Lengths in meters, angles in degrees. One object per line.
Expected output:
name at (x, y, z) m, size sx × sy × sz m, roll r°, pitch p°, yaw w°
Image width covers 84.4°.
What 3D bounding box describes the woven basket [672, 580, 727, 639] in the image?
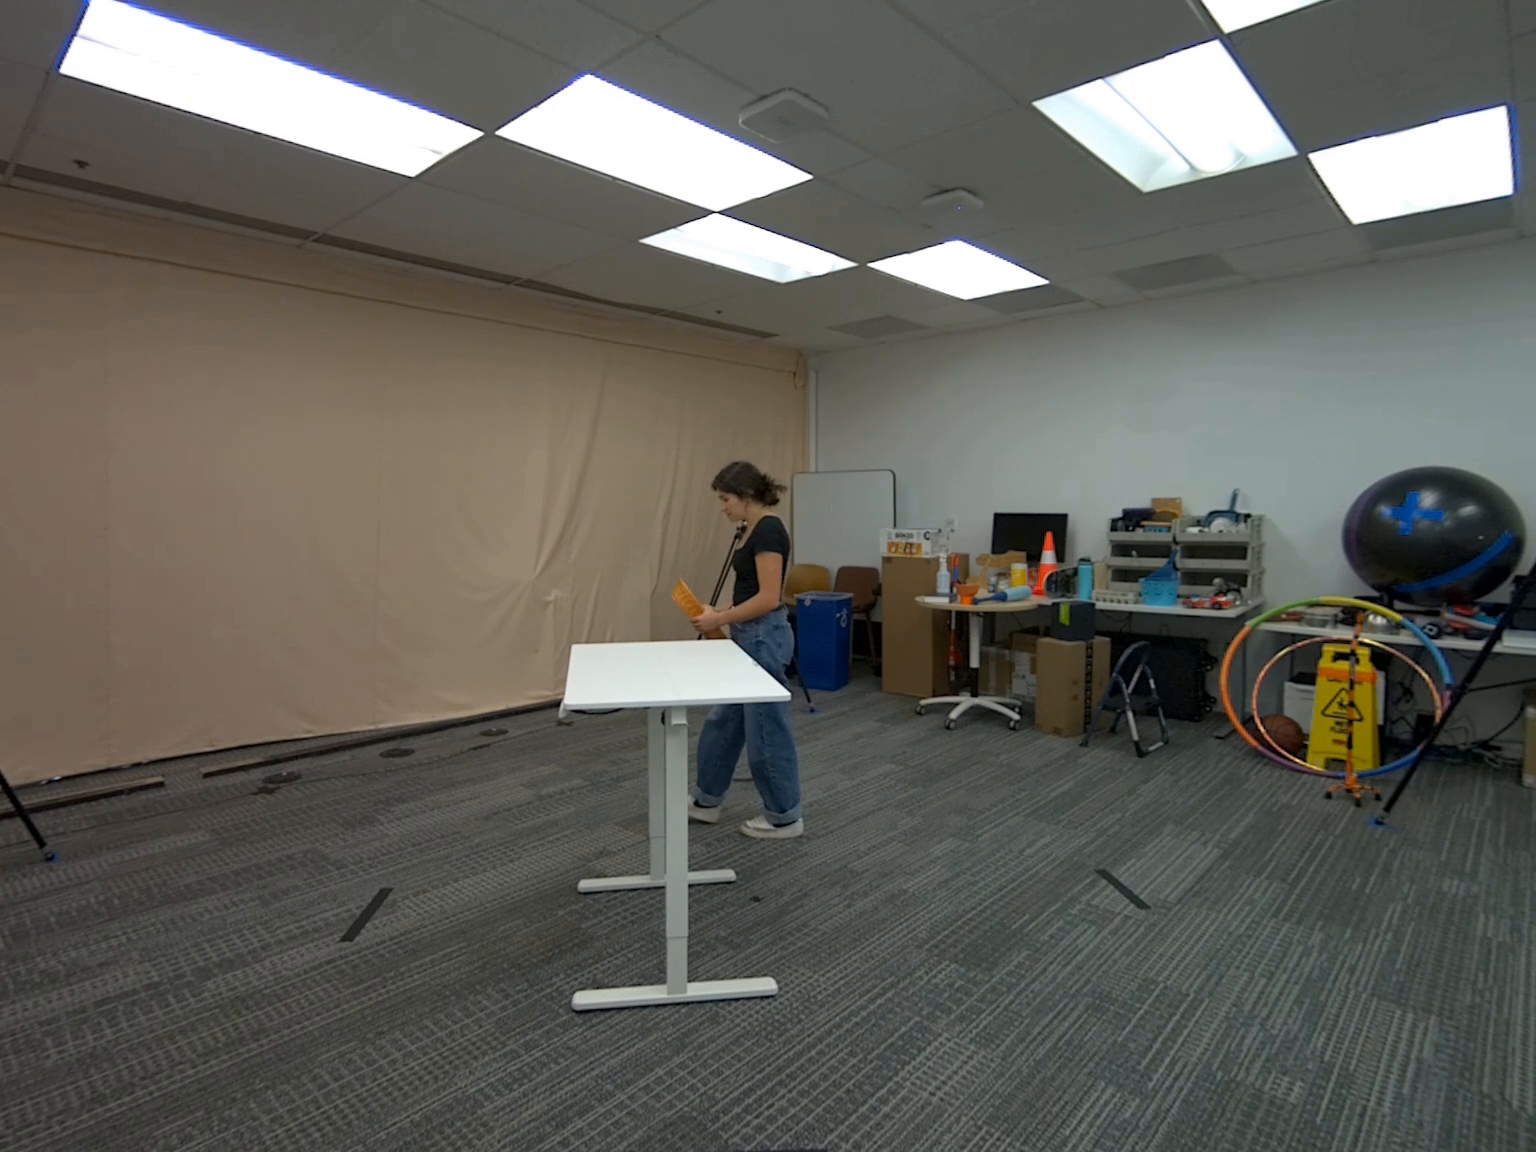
woven basket at (-0.298, 0.161, 3.545) m, size 0.073 × 0.352 × 0.252 m, roll -38°, pitch -3°, yaw -5°
